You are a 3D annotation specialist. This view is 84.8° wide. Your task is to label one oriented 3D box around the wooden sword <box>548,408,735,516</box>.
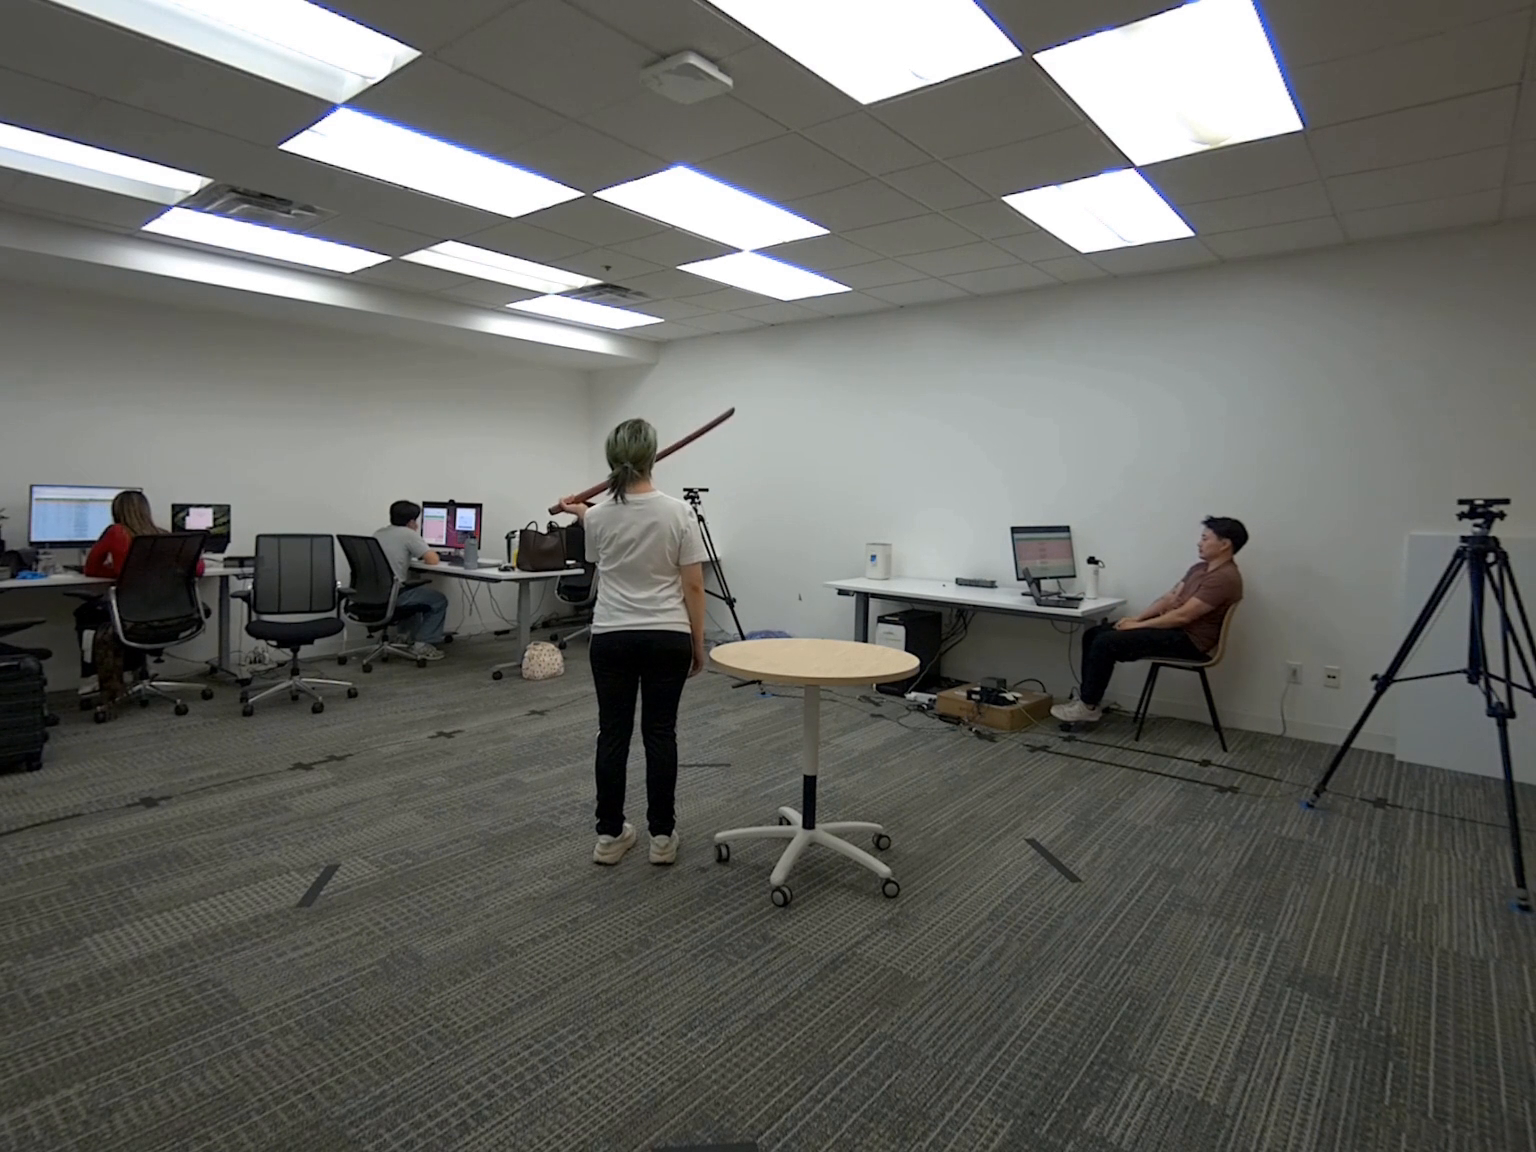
[{"bbox_3d":[-0.515,-0.493,3.626,1.015,0.050,0.025,-35,26,-30],"label":"wooden sword"}]
